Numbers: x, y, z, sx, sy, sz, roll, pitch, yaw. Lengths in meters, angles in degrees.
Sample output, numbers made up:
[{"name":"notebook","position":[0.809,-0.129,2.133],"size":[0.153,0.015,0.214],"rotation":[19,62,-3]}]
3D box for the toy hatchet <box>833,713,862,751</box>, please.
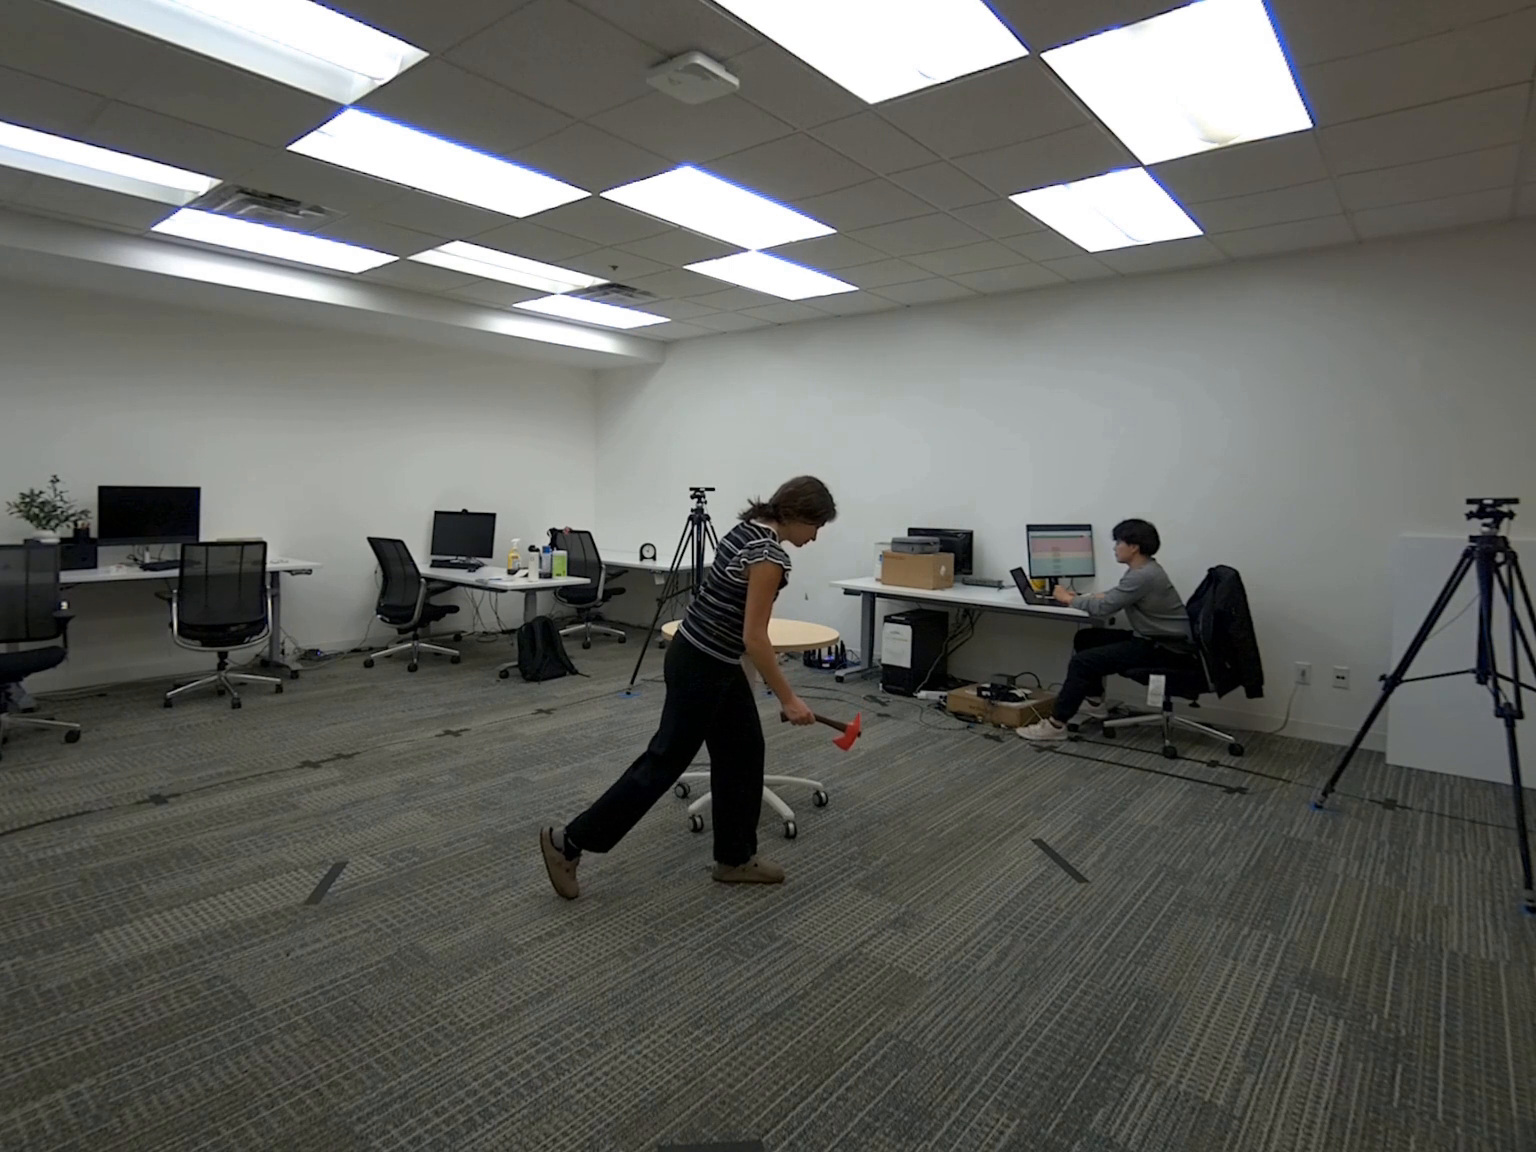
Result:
[{"name":"toy hatchet","position":[0.168,0.508,2.817],"size":[0.271,0.131,0.029],"rotation":[4,0,2]}]
